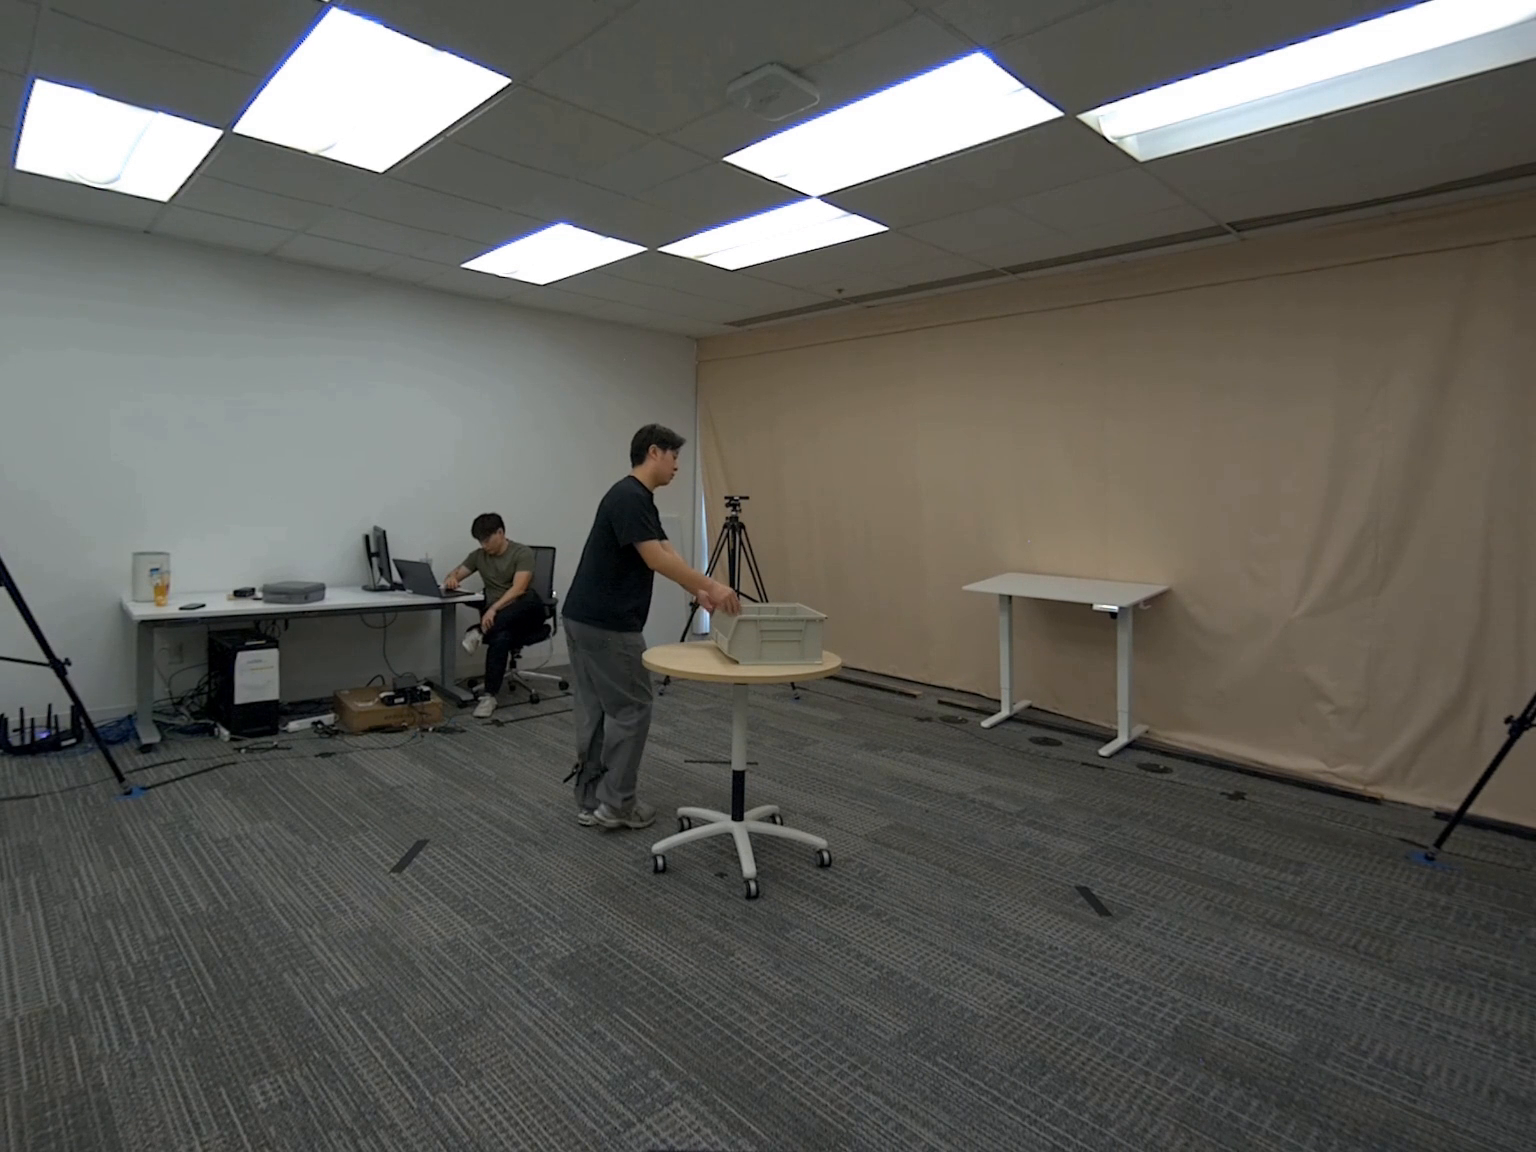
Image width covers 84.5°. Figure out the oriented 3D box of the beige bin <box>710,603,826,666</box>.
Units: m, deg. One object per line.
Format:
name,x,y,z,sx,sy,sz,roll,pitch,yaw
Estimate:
beige bin,-0.019,0.220,3.277,0.374,0.188,0.427,1,4,-12
